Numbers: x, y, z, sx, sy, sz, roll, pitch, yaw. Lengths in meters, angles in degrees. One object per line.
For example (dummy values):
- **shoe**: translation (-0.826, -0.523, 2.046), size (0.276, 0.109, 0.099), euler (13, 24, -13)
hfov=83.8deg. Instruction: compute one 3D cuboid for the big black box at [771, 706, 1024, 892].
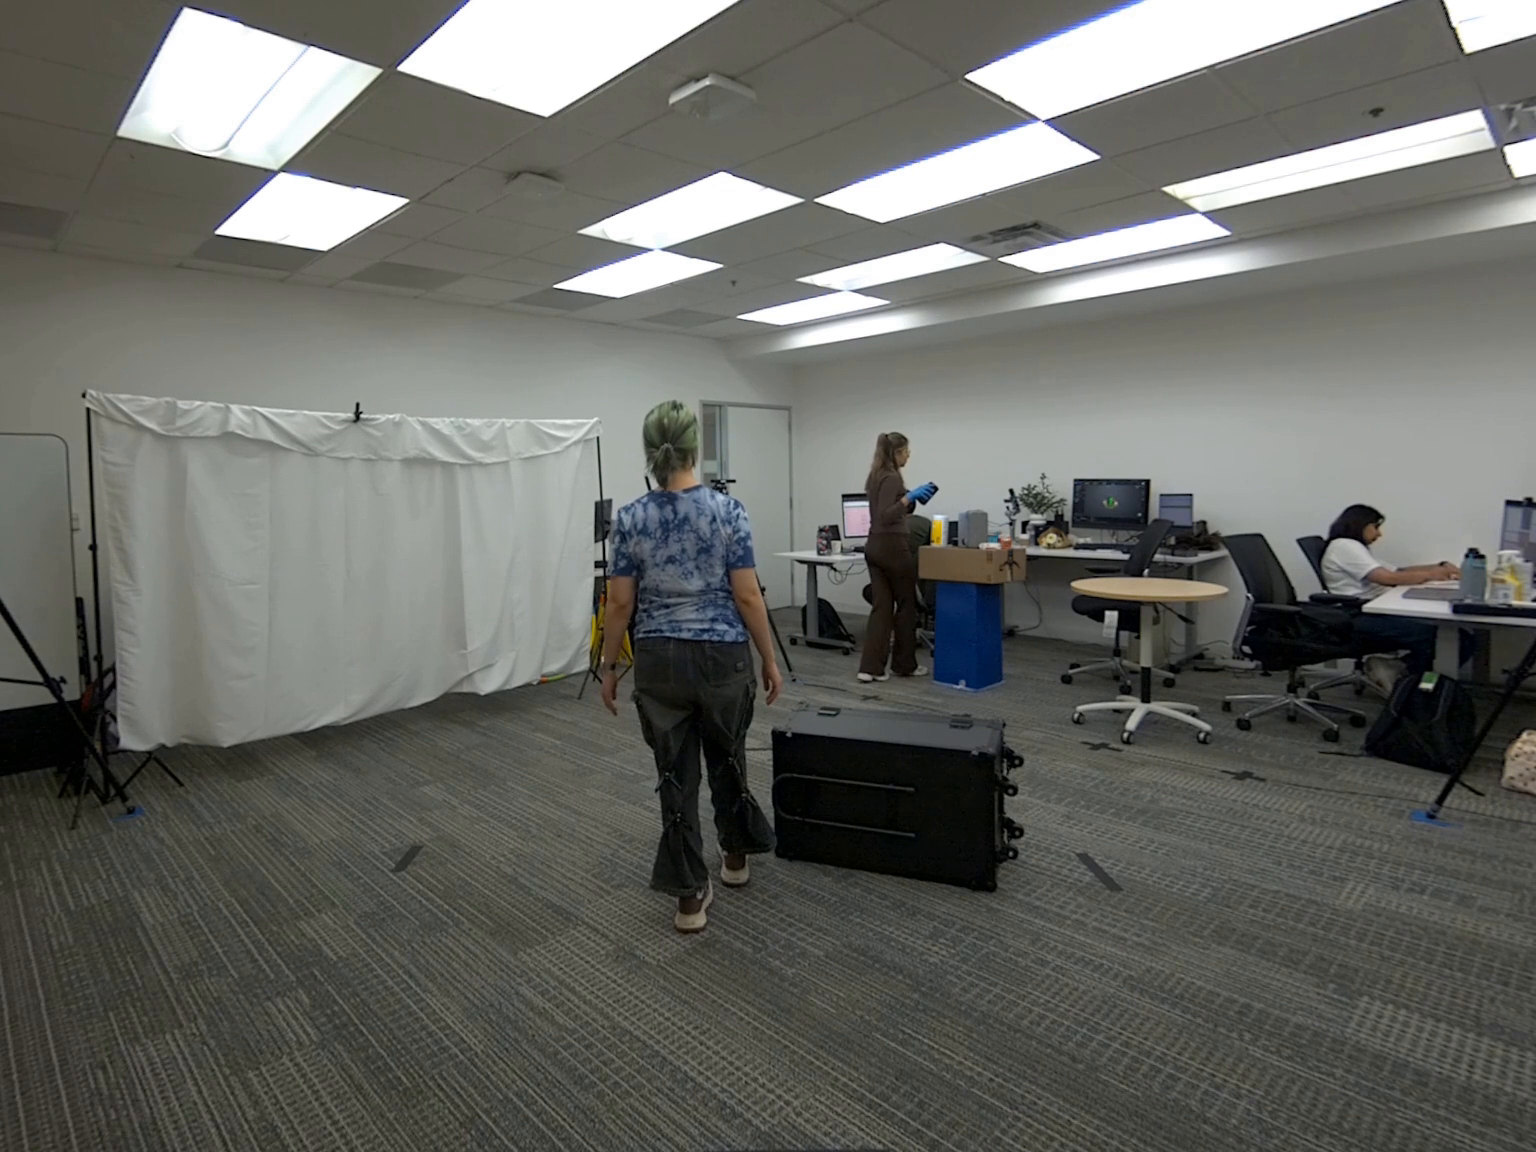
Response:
- **big black box**: translation (0.472, 0.782, 3.118), size (0.880, 0.518, 0.390), euler (1, 7, 23)
